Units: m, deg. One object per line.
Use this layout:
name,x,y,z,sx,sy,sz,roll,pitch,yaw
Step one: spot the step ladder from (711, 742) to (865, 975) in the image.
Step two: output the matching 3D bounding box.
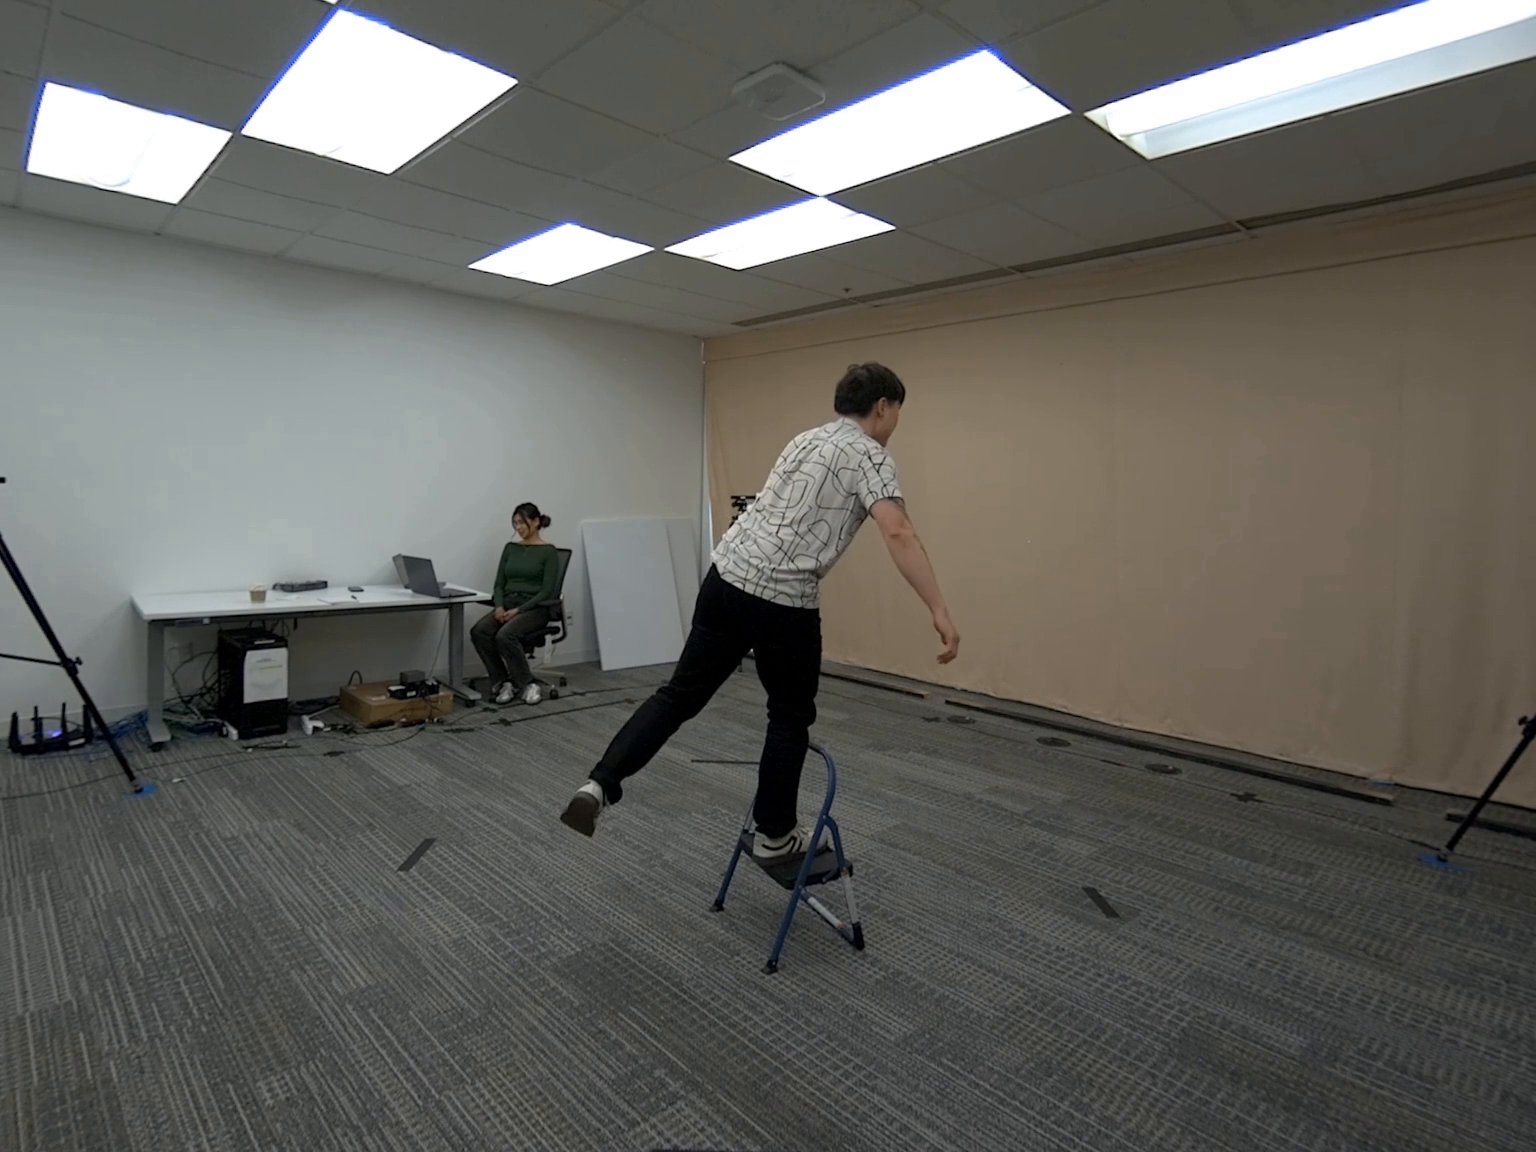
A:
step ladder,0.057,0.841,2.704,0.343,0.604,0.440,-1,4,-27
